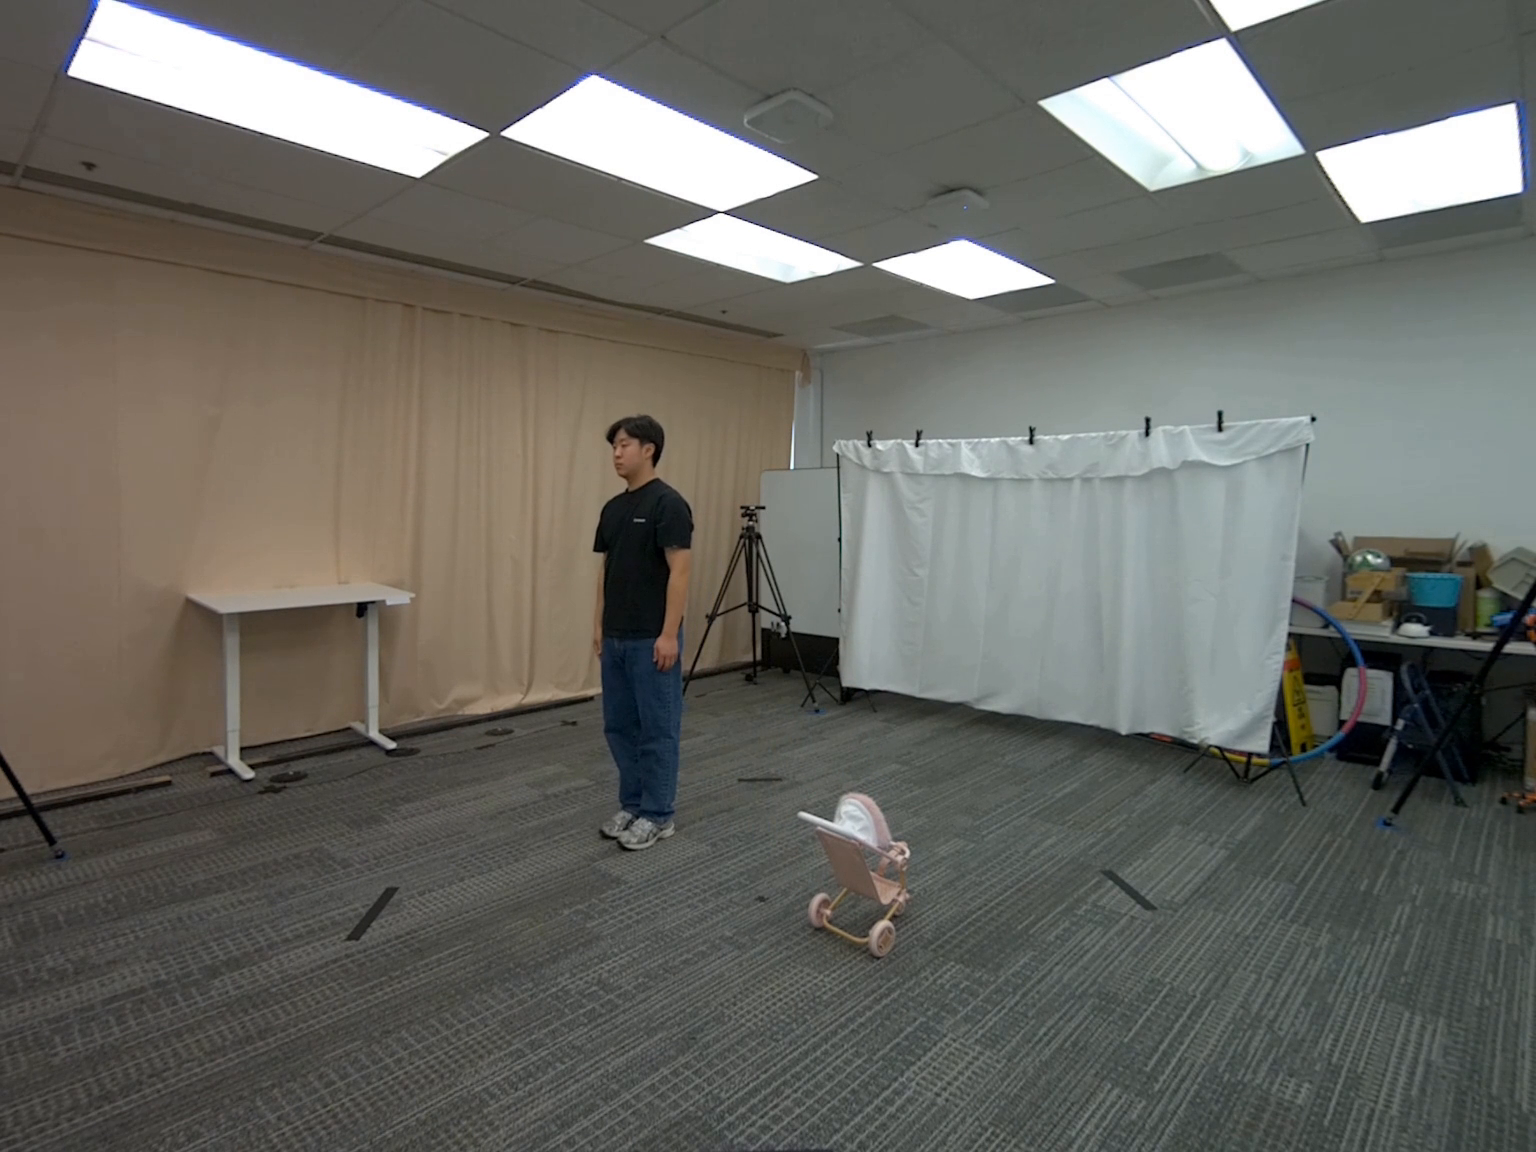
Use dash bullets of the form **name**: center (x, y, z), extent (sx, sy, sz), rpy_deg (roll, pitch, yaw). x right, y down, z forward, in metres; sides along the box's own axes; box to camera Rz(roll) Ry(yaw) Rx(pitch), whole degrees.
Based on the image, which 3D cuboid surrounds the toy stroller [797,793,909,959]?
- **toy stroller**: center (0.314, 0.939, 2.722), extent (0.334, 0.529, 0.291), rpy_deg (-22, 16, -37)
